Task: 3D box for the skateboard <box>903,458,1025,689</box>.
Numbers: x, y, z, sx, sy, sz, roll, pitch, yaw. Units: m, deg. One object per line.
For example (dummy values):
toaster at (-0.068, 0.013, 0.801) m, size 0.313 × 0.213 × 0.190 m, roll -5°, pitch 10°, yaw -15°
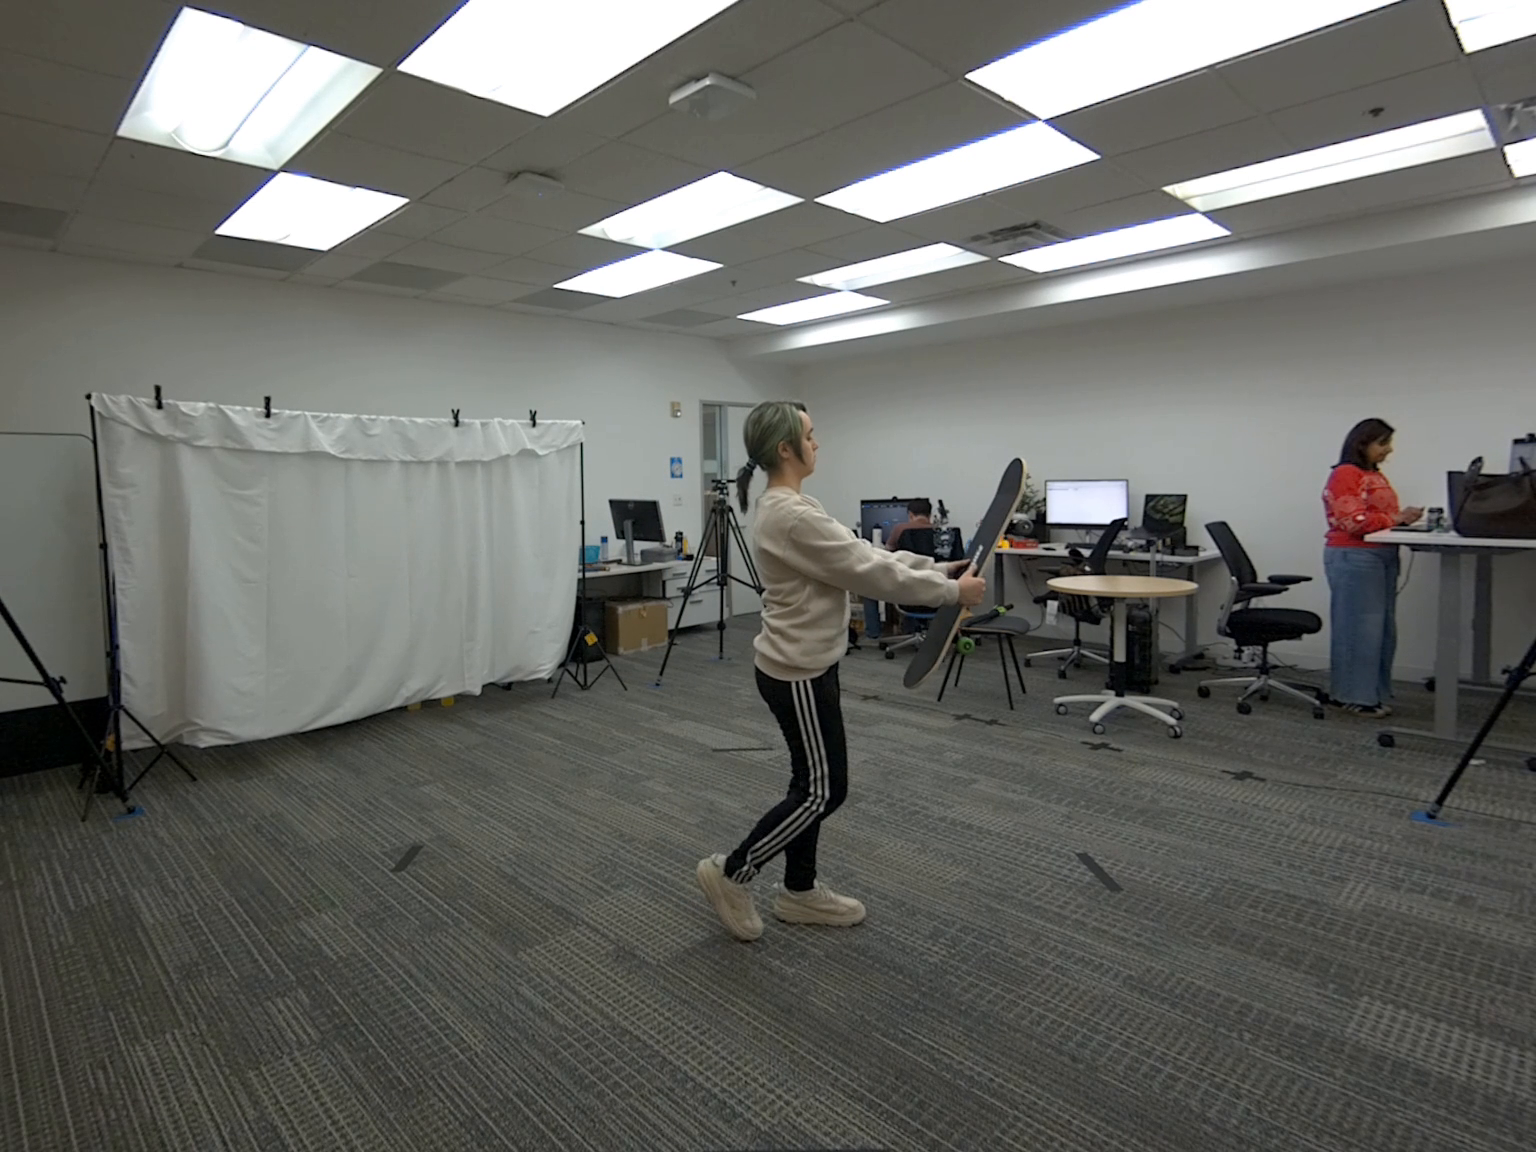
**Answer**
skateboard at (0.642, 0.017, 2.621) m, size 0.109 × 0.785 × 0.195 m, roll 26°, pitch -1°, yaw -8°
